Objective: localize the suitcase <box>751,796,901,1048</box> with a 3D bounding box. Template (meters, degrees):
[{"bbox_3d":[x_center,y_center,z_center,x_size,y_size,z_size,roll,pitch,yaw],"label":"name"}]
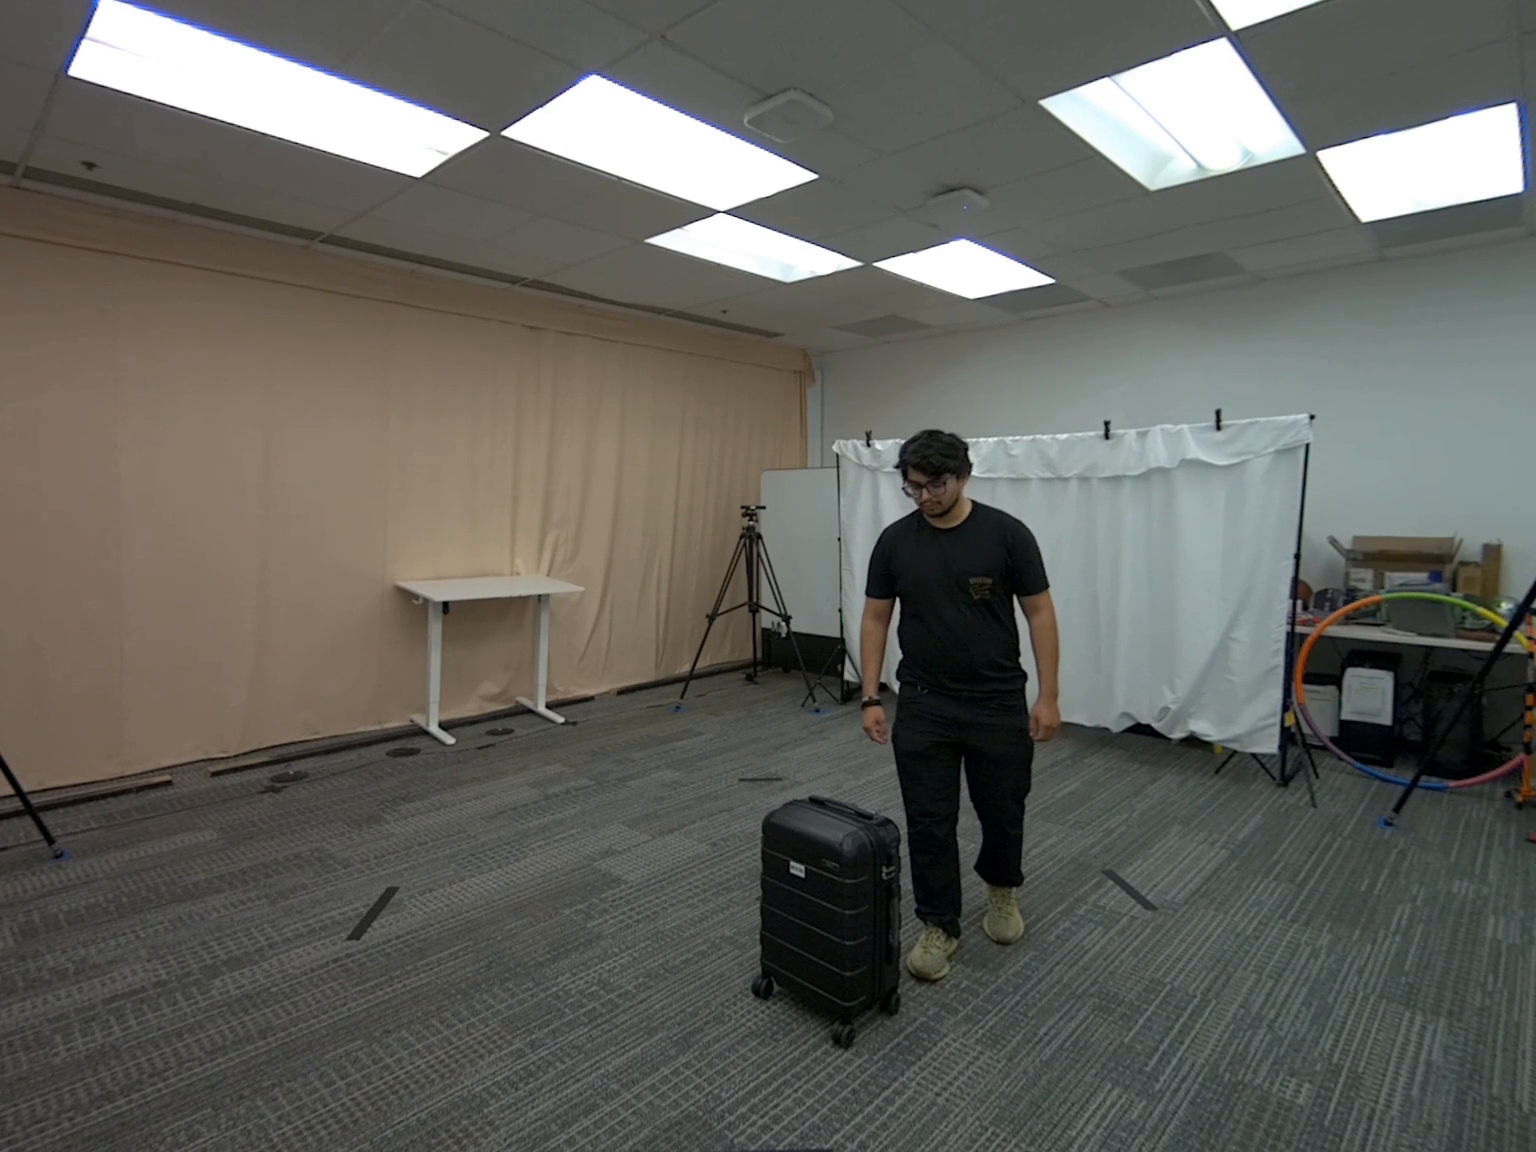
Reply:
[{"bbox_3d":[0.177,0.923,2.343,0.388,0.548,0.240,4,3,45],"label":"suitcase"}]
